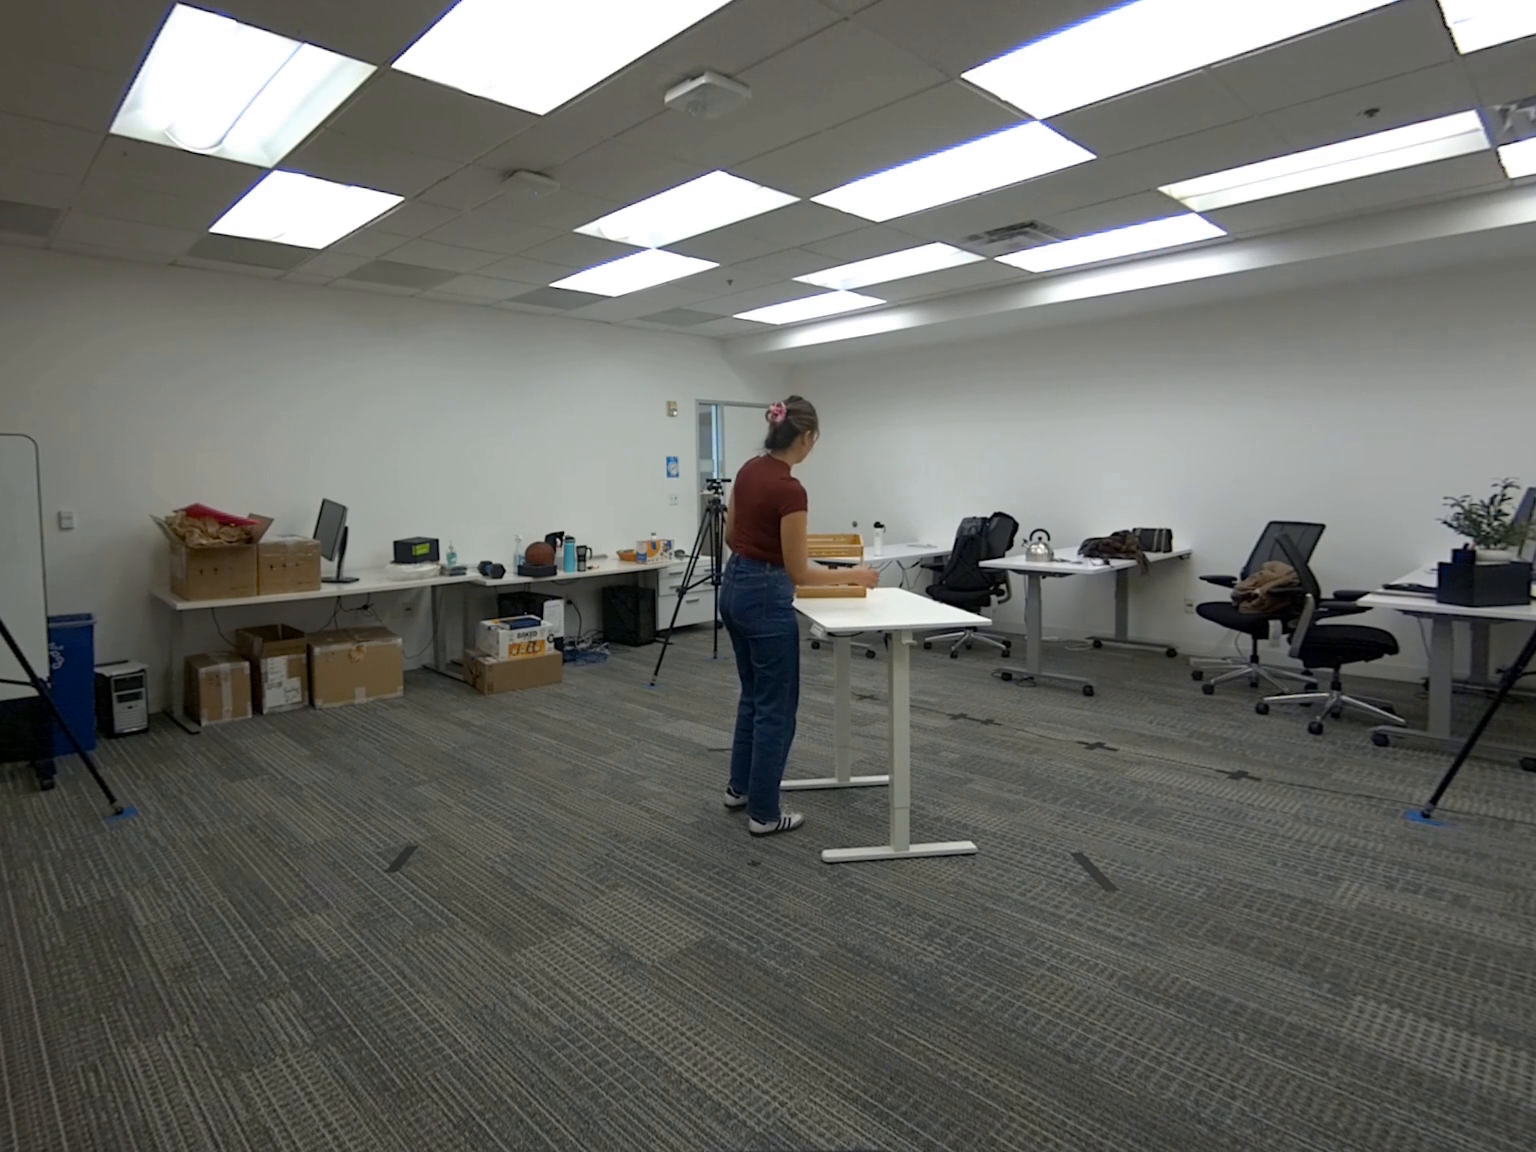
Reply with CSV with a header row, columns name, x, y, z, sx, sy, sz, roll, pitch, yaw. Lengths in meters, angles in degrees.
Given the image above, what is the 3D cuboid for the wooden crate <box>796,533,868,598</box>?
name,x,y,z,sx,sy,sz,roll,pitch,yaw
wooden crate,0.272,-0.051,3.794,0.324,0.272,0.303,-1,5,0
